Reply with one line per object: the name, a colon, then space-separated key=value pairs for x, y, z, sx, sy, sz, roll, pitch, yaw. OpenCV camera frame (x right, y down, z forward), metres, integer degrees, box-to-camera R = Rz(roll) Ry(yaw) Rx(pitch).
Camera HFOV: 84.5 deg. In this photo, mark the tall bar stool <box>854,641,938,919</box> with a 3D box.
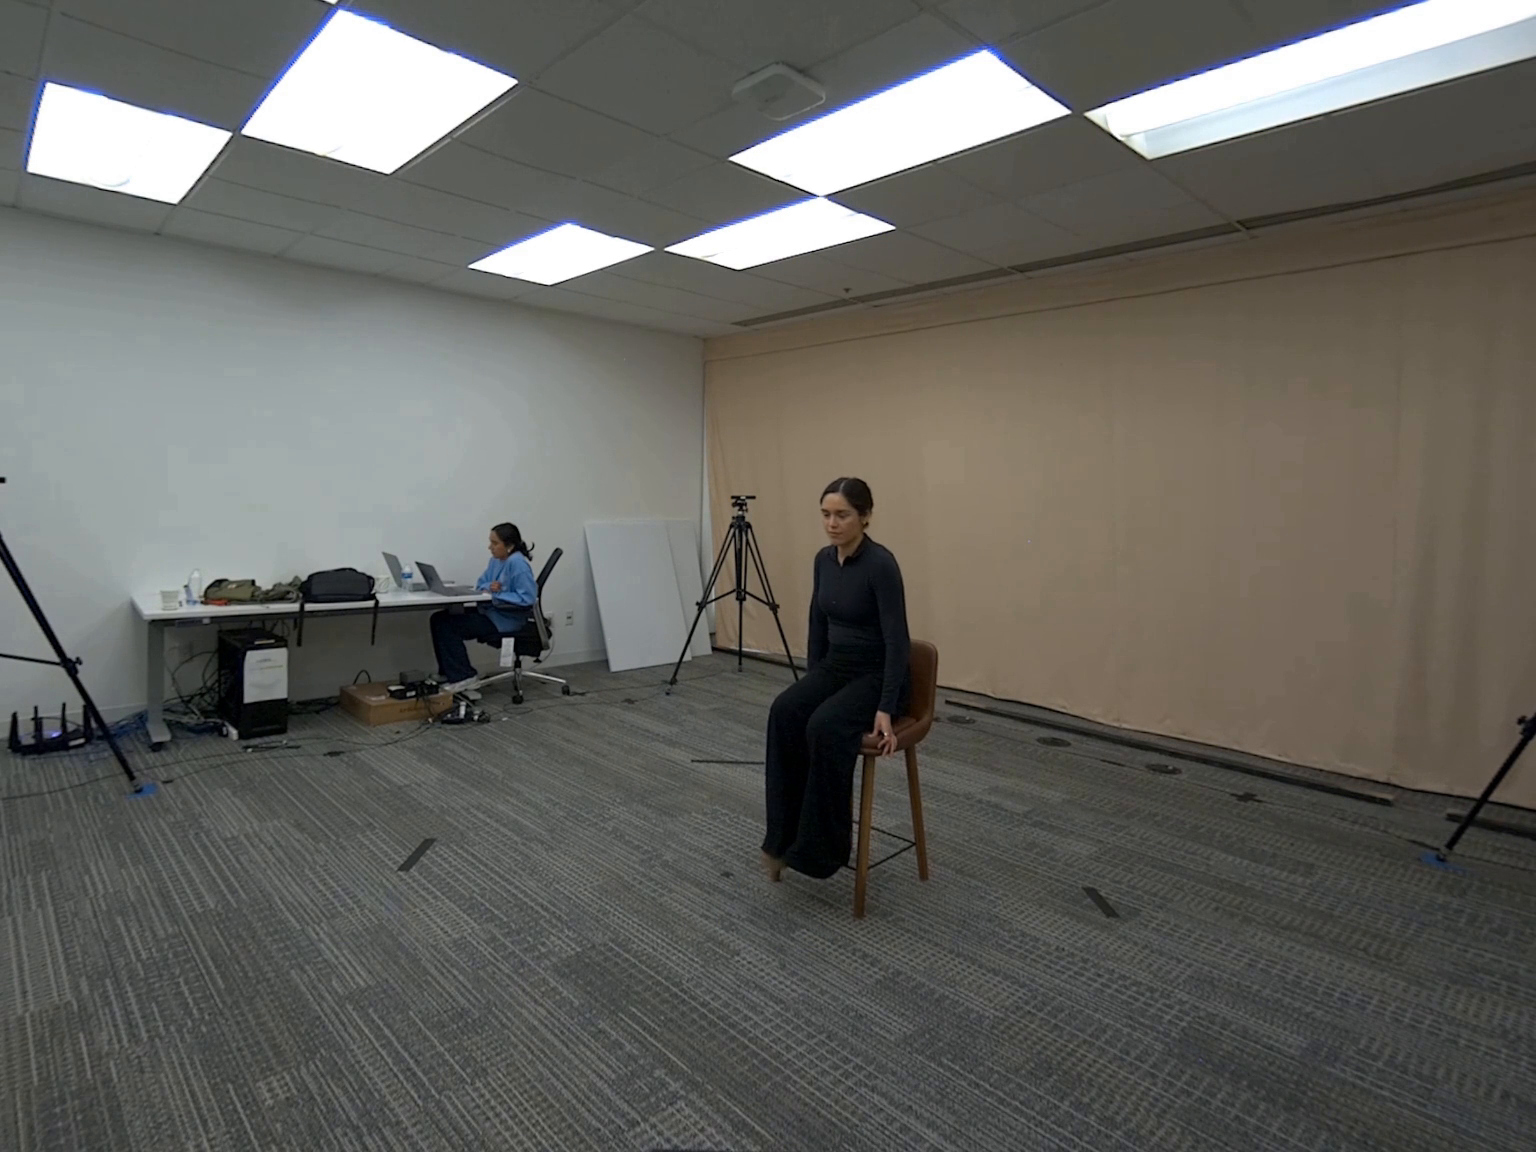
tall bar stool: x=0.328 y=0.682 z=3.067 sx=0.468 sy=0.888 sz=0.456 roll=5 pitch=3 yaw=44
